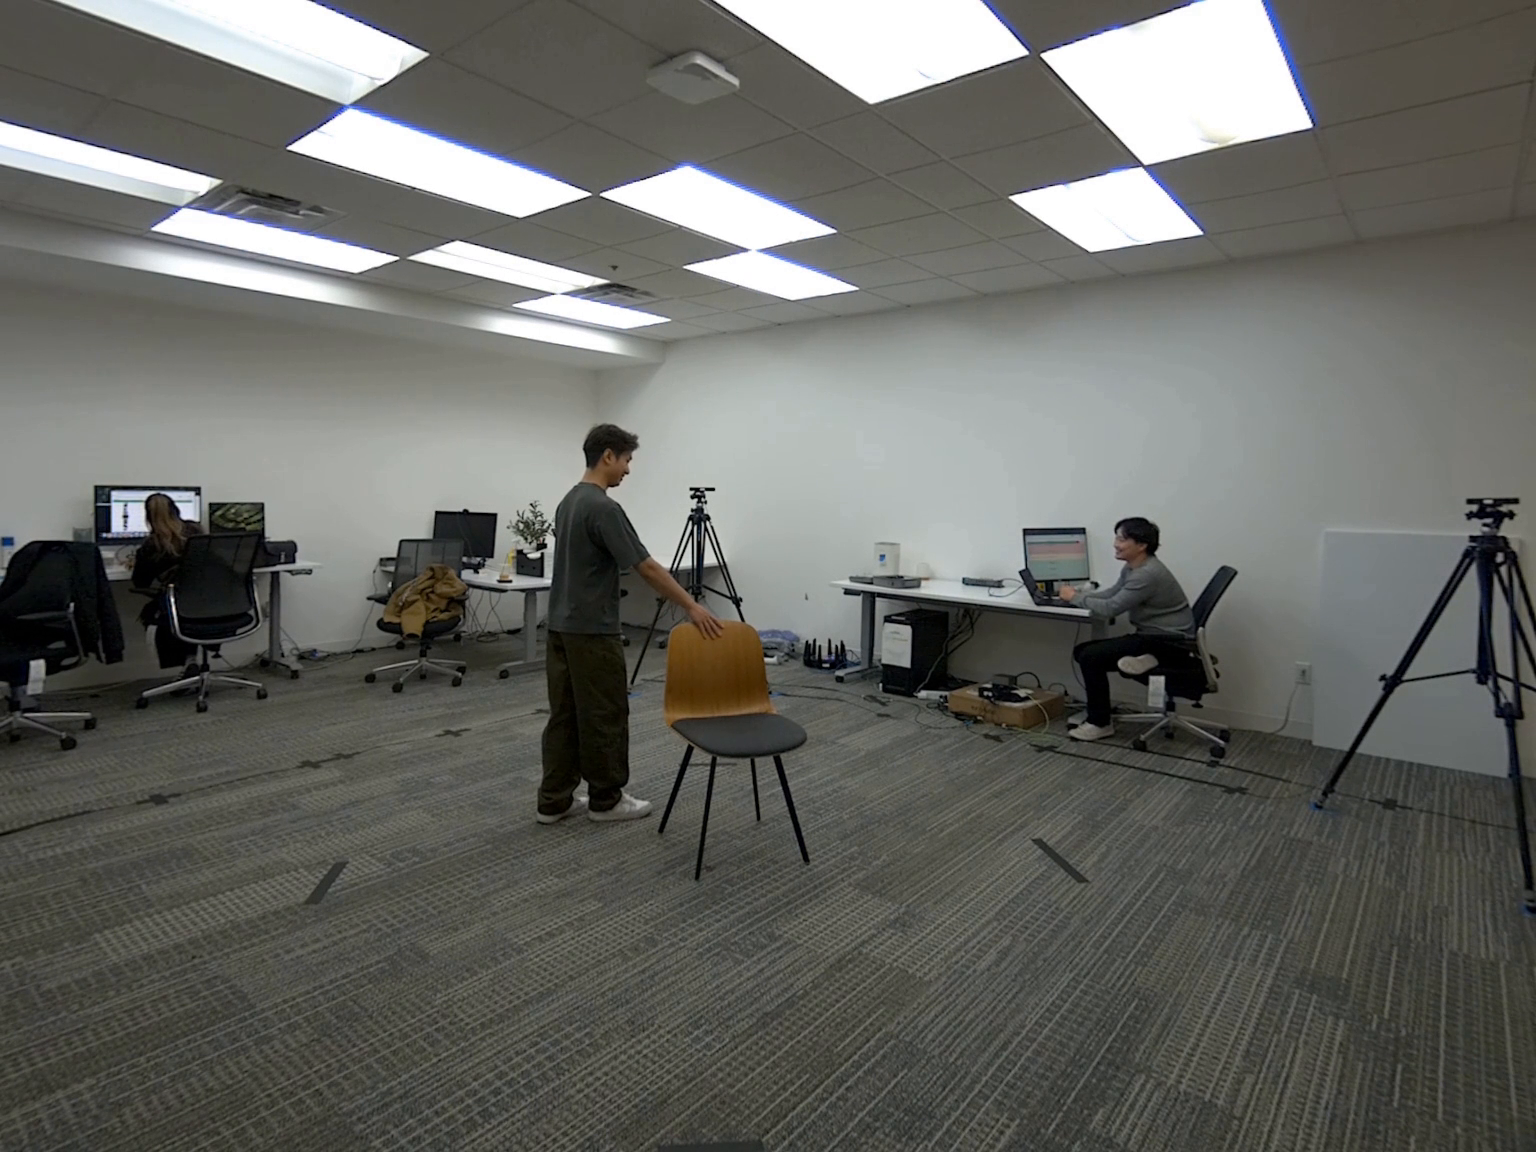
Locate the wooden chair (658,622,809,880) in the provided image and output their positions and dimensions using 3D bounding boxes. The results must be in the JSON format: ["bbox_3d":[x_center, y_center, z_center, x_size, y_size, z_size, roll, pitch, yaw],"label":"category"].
[{"bbox_3d":[-0.141,0.625,3.264,0.467,0.879,0.534,0,-1,-23],"label":"wooden chair"}]
